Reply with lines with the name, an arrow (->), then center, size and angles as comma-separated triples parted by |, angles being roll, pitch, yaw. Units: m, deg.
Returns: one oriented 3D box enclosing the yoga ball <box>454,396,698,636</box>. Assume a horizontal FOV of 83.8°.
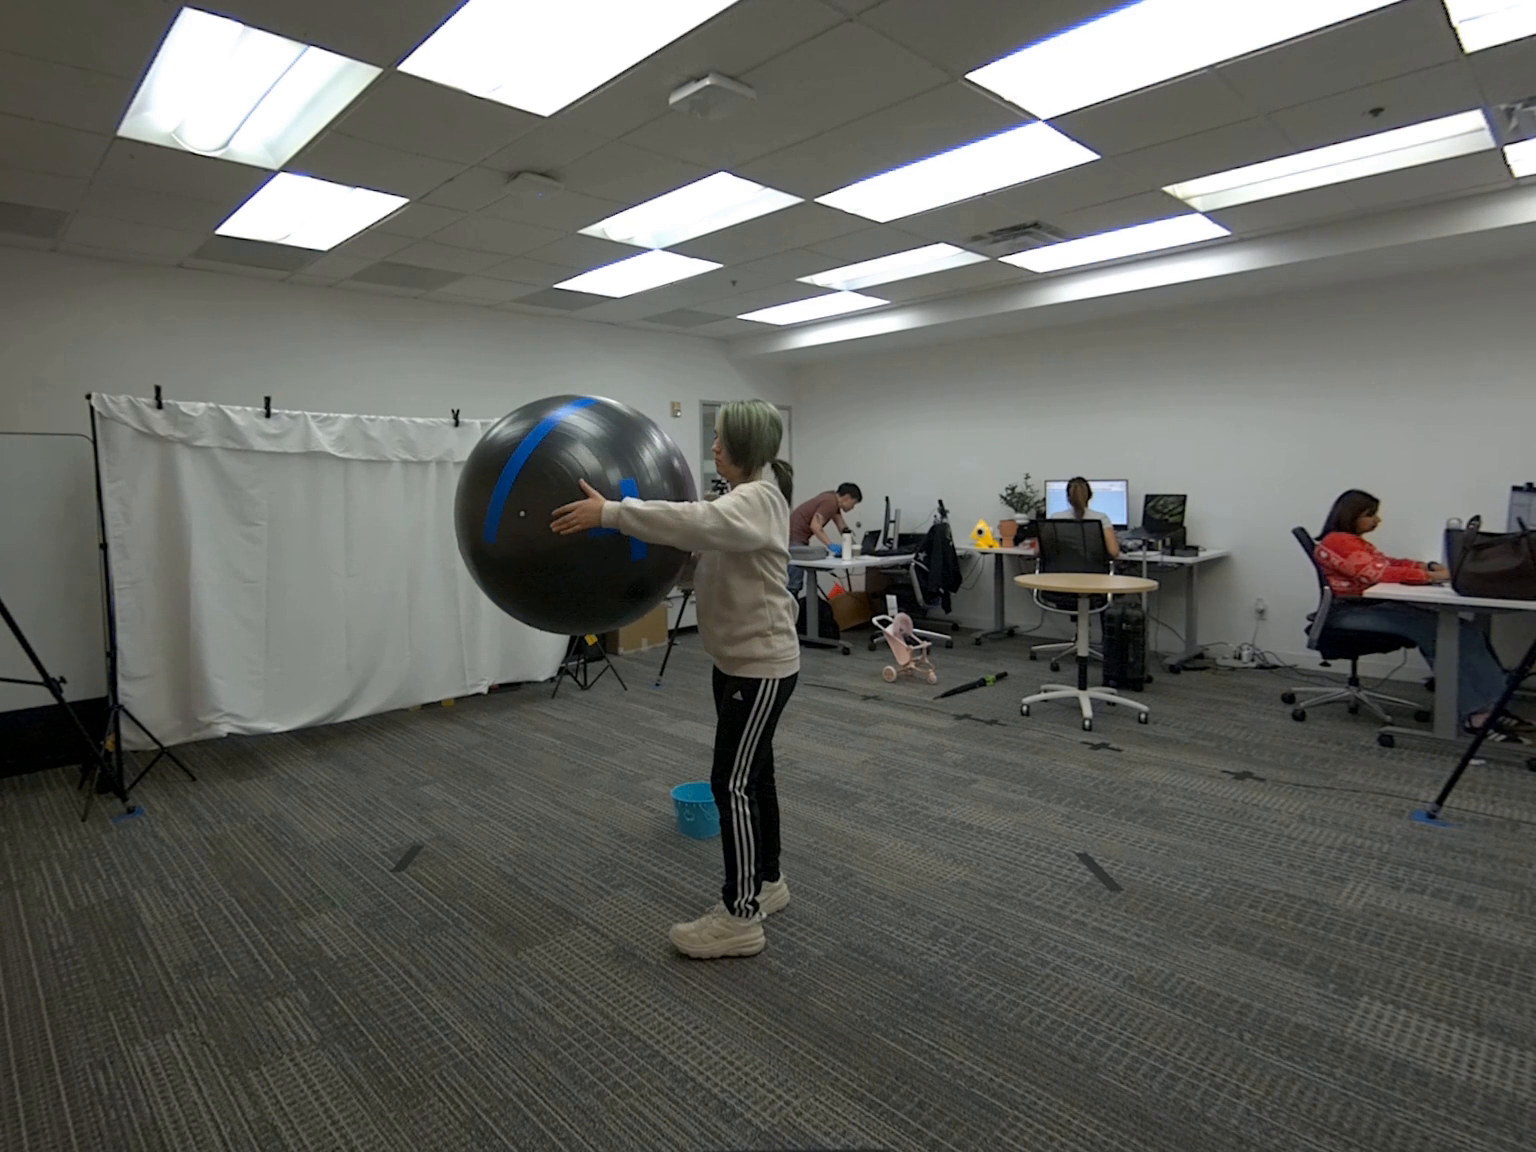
yoga ball -> -0.600, -0.185, 2.696 | 0.757, 0.755, 0.762 | -1, 5, -2
